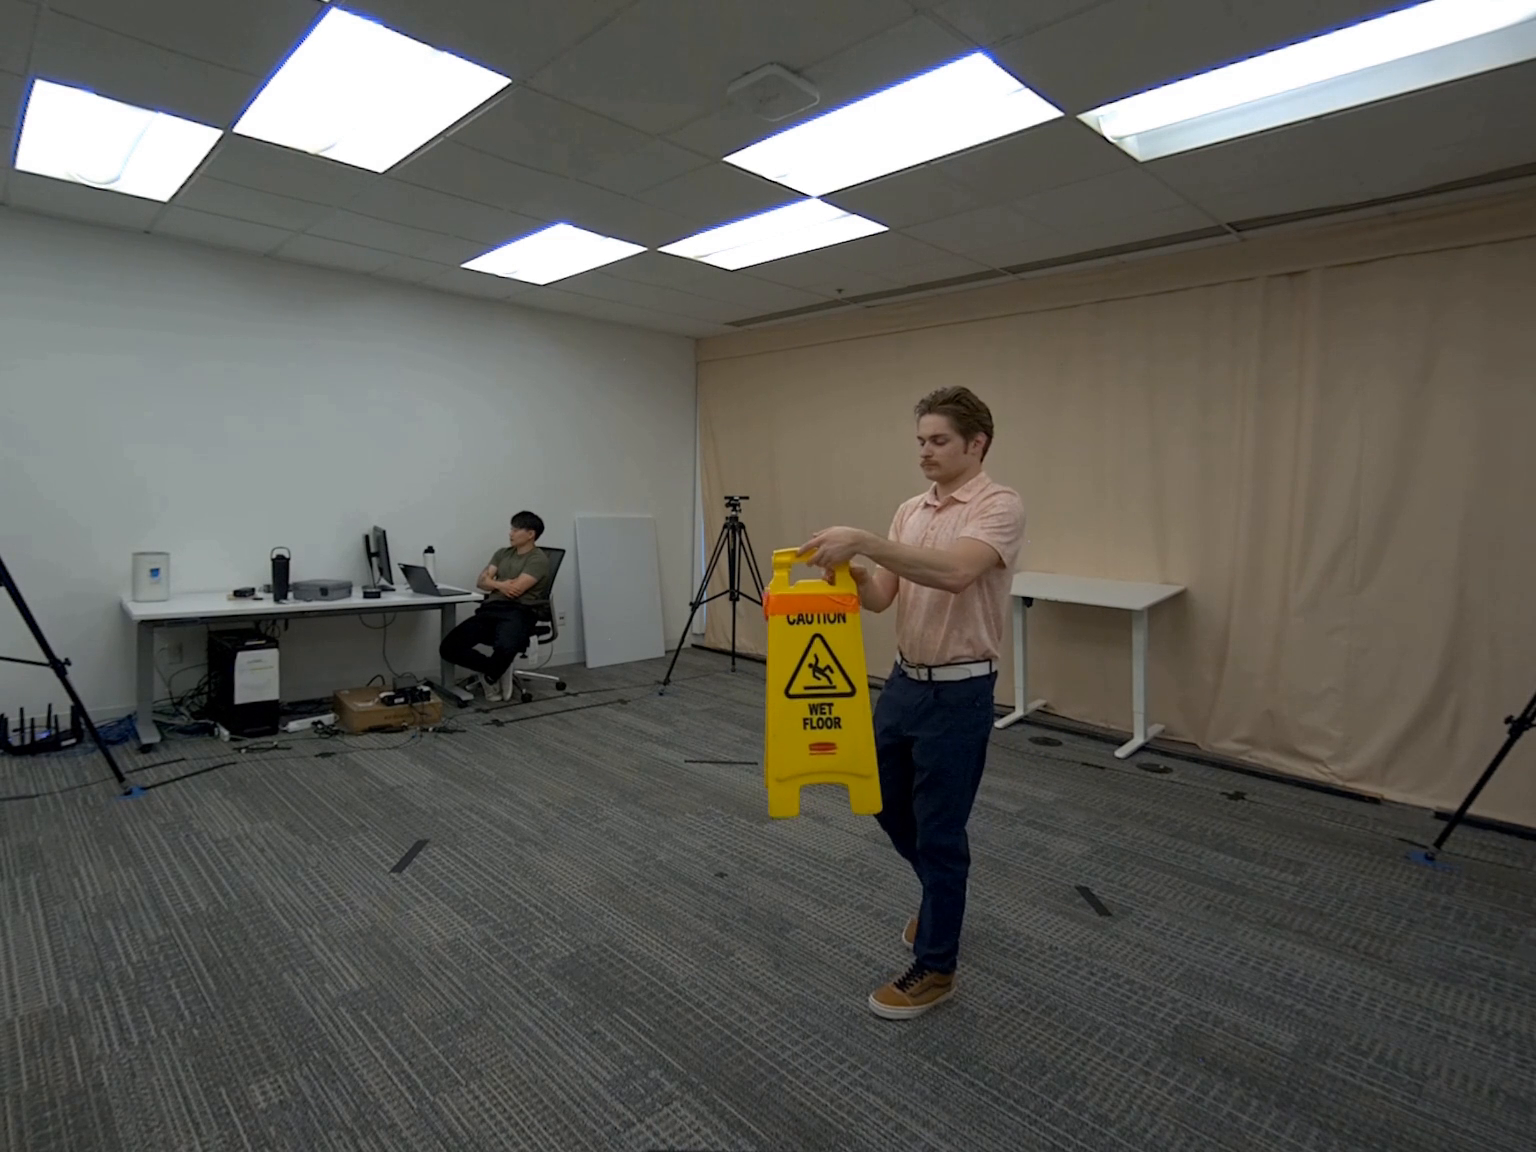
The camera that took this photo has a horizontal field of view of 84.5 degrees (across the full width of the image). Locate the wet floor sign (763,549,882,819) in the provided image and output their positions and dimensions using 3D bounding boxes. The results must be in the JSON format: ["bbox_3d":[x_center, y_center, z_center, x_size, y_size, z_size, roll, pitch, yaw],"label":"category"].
[{"bbox_3d":[0.120,0.255,2.162,0.281,0.646,0.290,-2,0,-4],"label":"wet floor sign"}]
